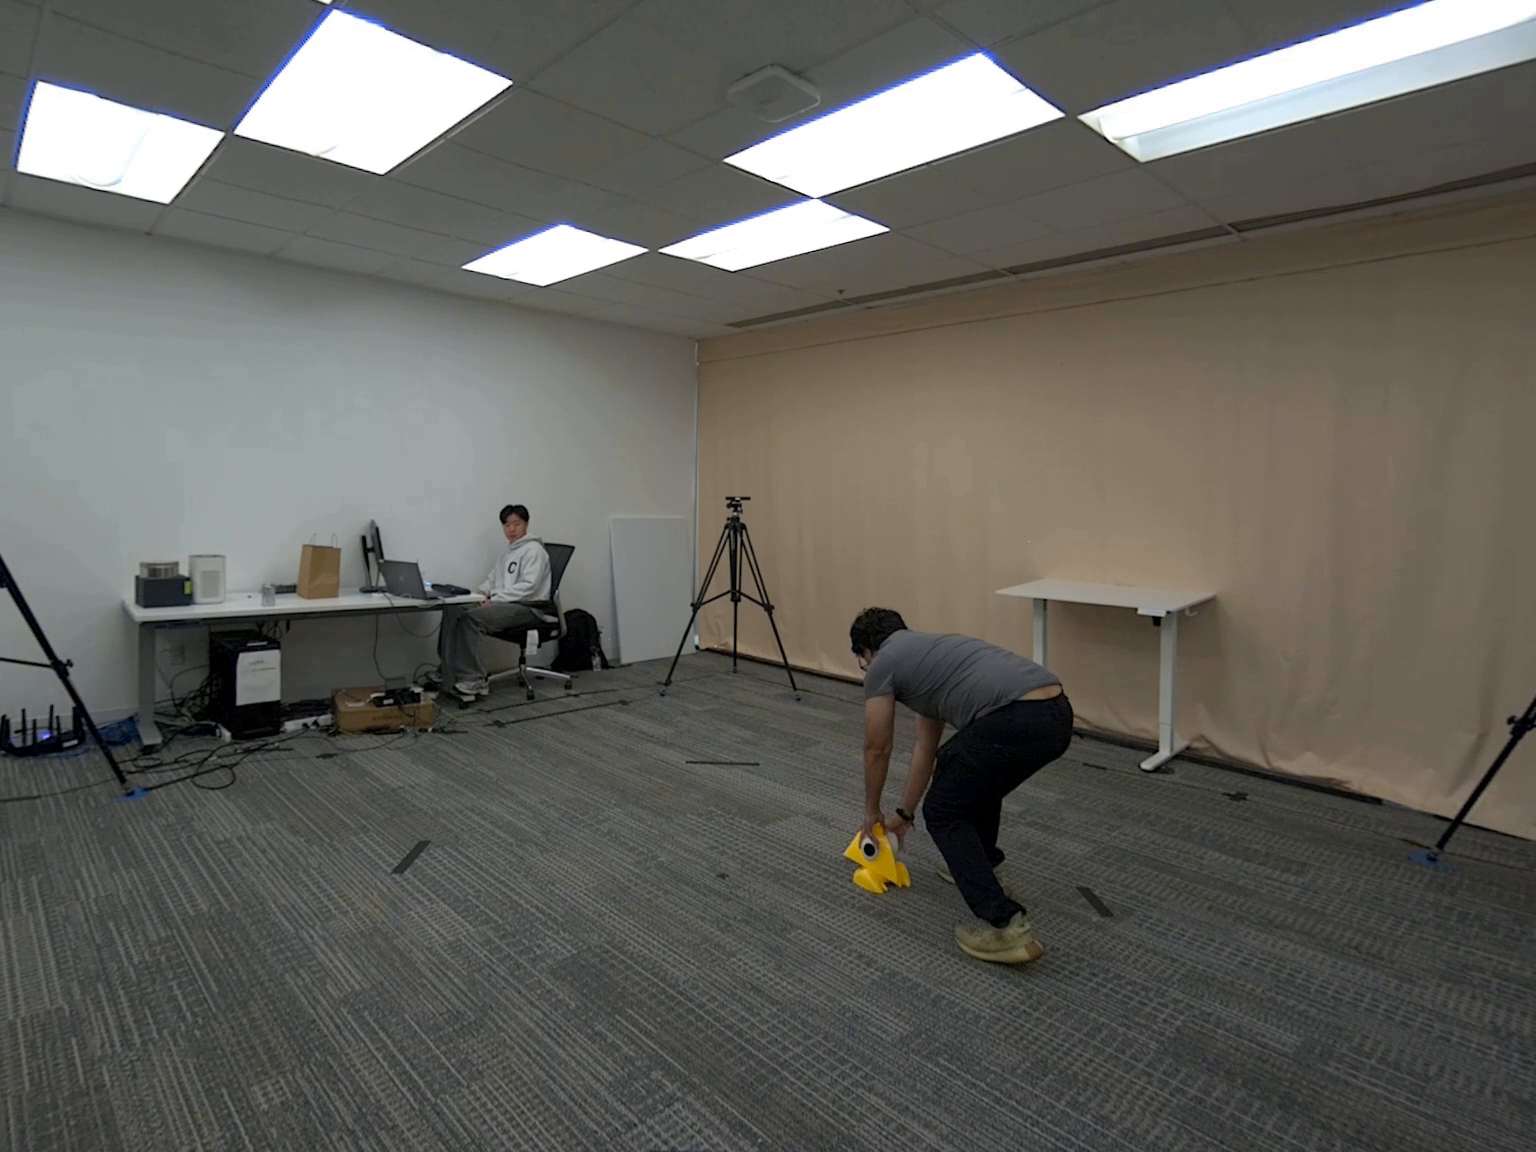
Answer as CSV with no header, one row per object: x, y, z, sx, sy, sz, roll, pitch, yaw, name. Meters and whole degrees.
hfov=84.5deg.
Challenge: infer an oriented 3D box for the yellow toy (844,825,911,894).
0.409,1.004,3.100,0.200,0.230,0.197,0,5,-30,yellow toy
